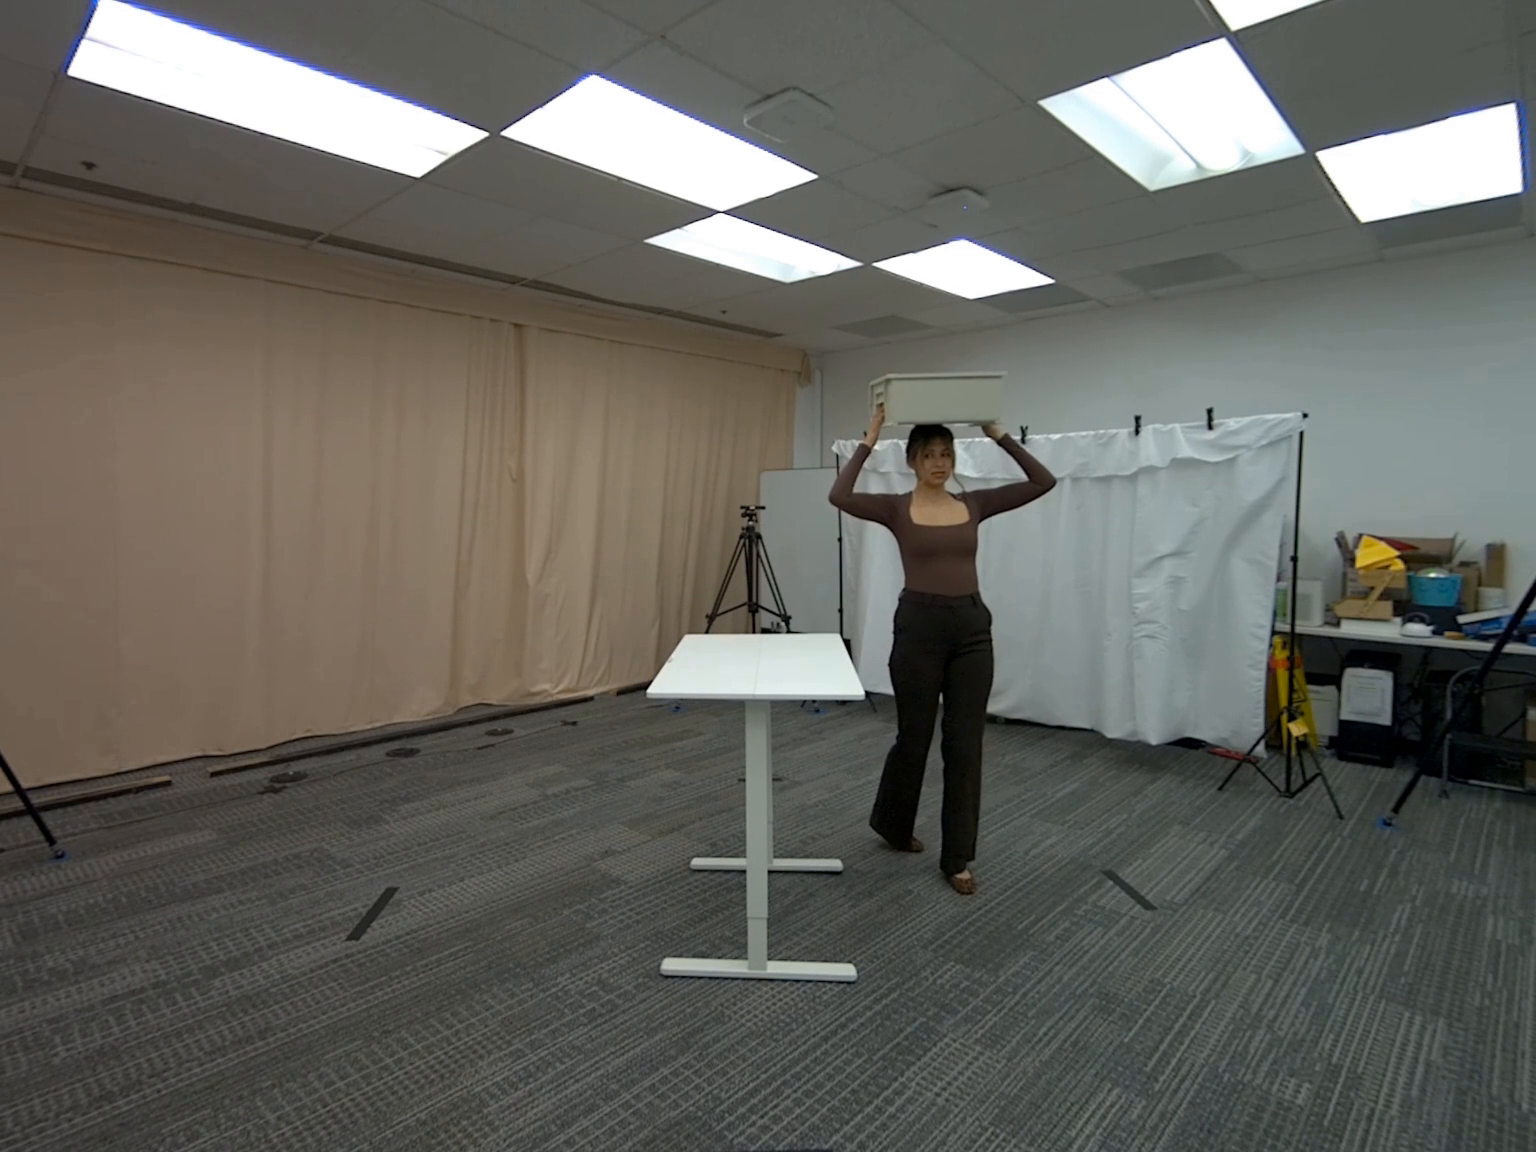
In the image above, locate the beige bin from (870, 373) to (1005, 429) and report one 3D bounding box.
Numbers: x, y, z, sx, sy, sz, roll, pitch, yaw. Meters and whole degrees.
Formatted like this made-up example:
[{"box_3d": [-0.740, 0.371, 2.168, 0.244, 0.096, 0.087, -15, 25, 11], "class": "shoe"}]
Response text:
[{"box_3d": [0.623, -0.655, 3.149, 0.421, 0.188, 0.380, -3, 9, -3], "class": "beige bin"}]
